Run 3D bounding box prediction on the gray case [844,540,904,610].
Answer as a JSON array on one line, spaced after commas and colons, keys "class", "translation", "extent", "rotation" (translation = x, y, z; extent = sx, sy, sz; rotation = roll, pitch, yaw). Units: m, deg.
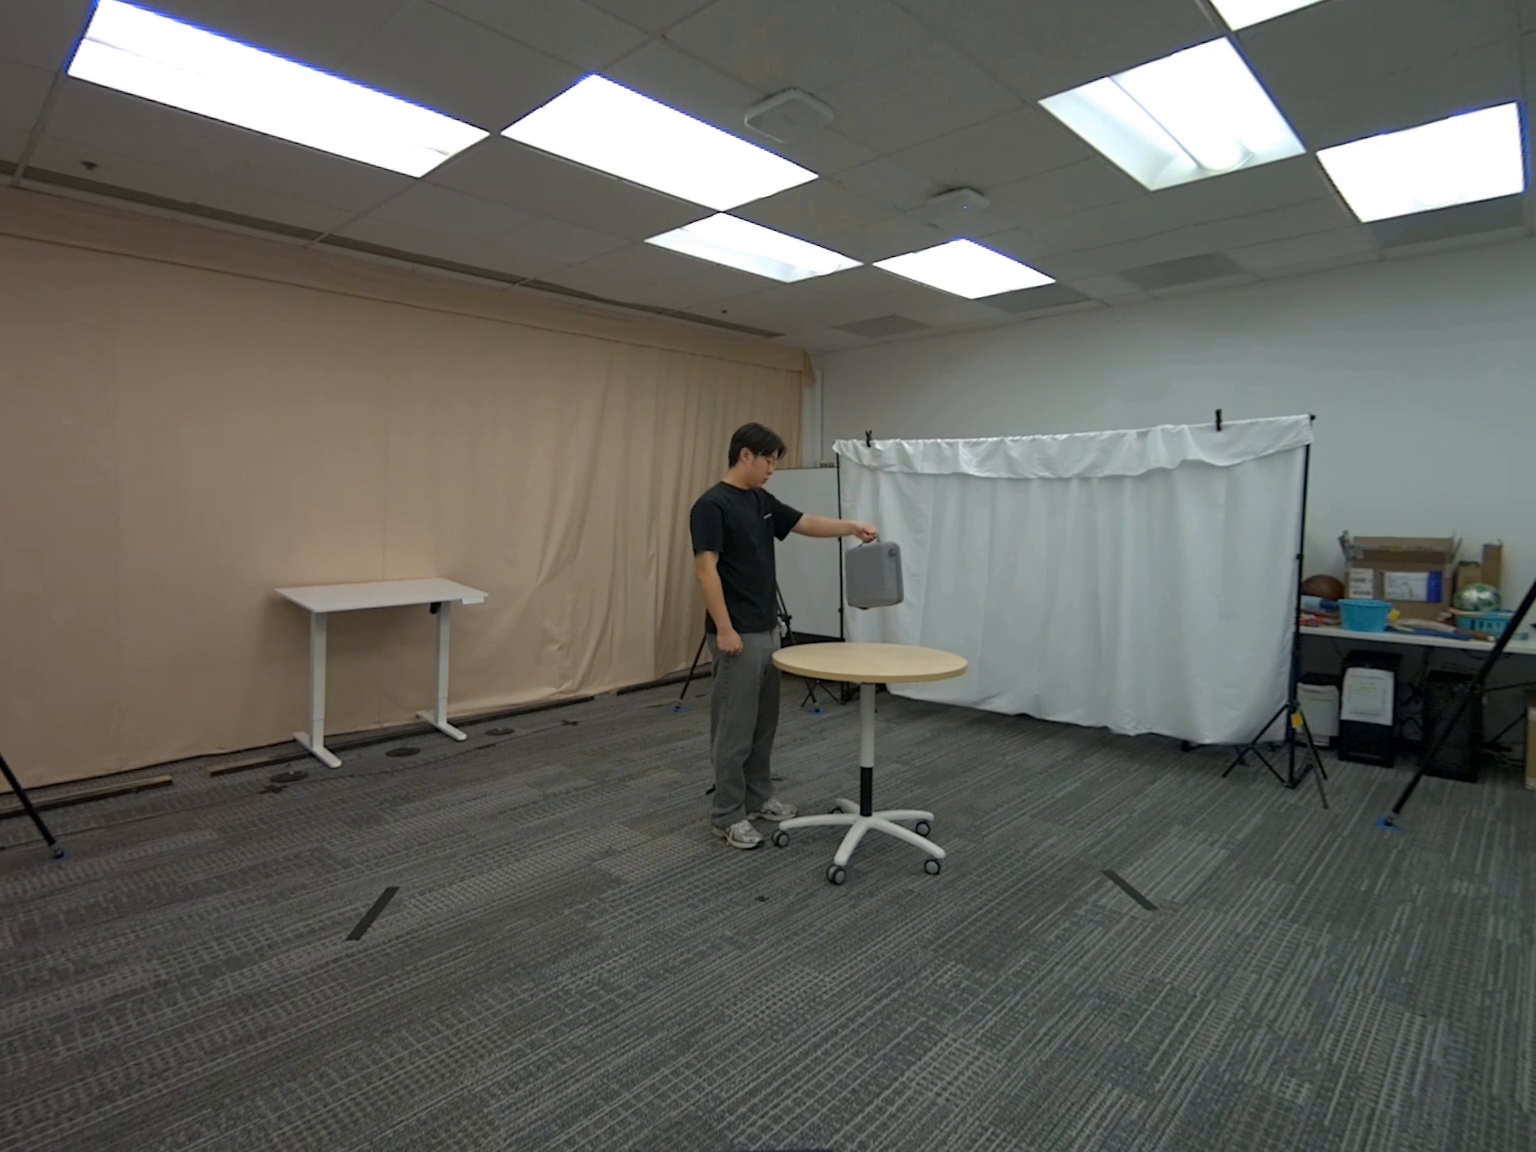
[{"class": "gray case", "translation": [0.424, -0.013, 3.449], "extent": [0.100, 0.289, 0.269], "rotation": [0, -8, -34]}]
